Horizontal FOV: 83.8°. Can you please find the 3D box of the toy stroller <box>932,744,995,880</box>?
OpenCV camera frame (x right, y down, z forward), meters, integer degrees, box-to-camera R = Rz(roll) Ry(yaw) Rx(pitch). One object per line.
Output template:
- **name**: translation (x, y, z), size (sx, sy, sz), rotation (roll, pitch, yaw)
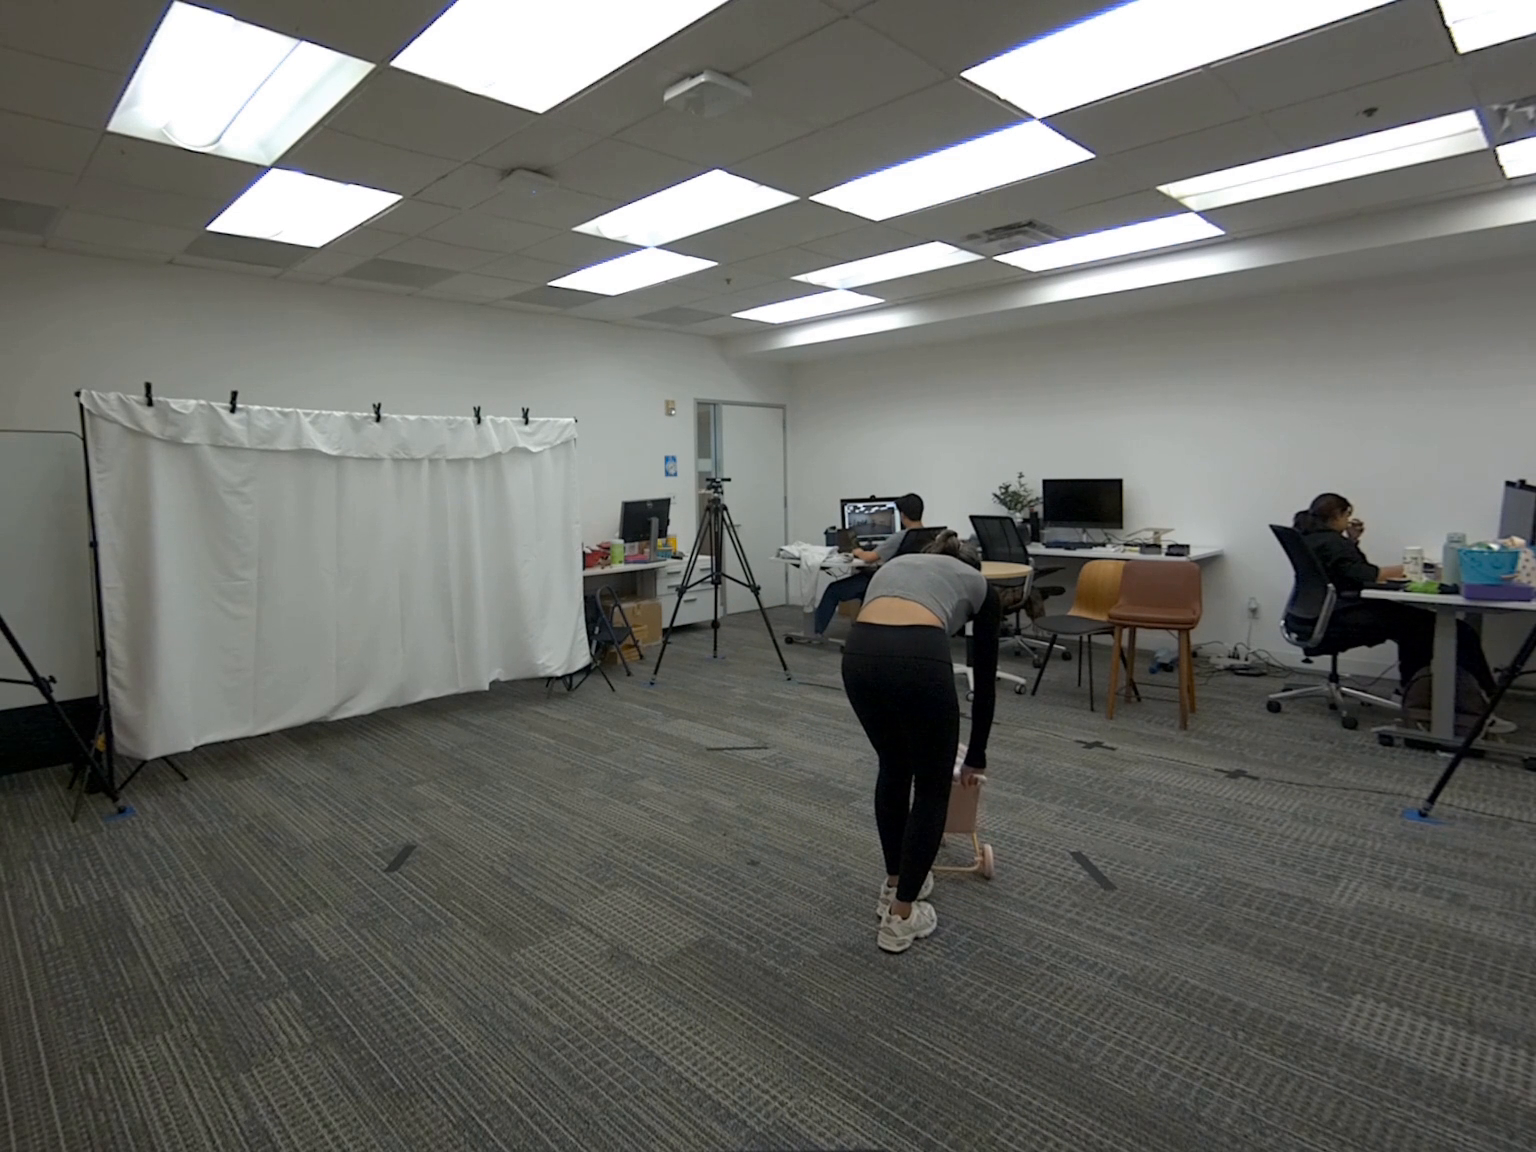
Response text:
- **toy stroller**: translation (0.648, 0.817, 3.030), size (0.284, 0.525, 0.344), rotation (1, 21, 9)
